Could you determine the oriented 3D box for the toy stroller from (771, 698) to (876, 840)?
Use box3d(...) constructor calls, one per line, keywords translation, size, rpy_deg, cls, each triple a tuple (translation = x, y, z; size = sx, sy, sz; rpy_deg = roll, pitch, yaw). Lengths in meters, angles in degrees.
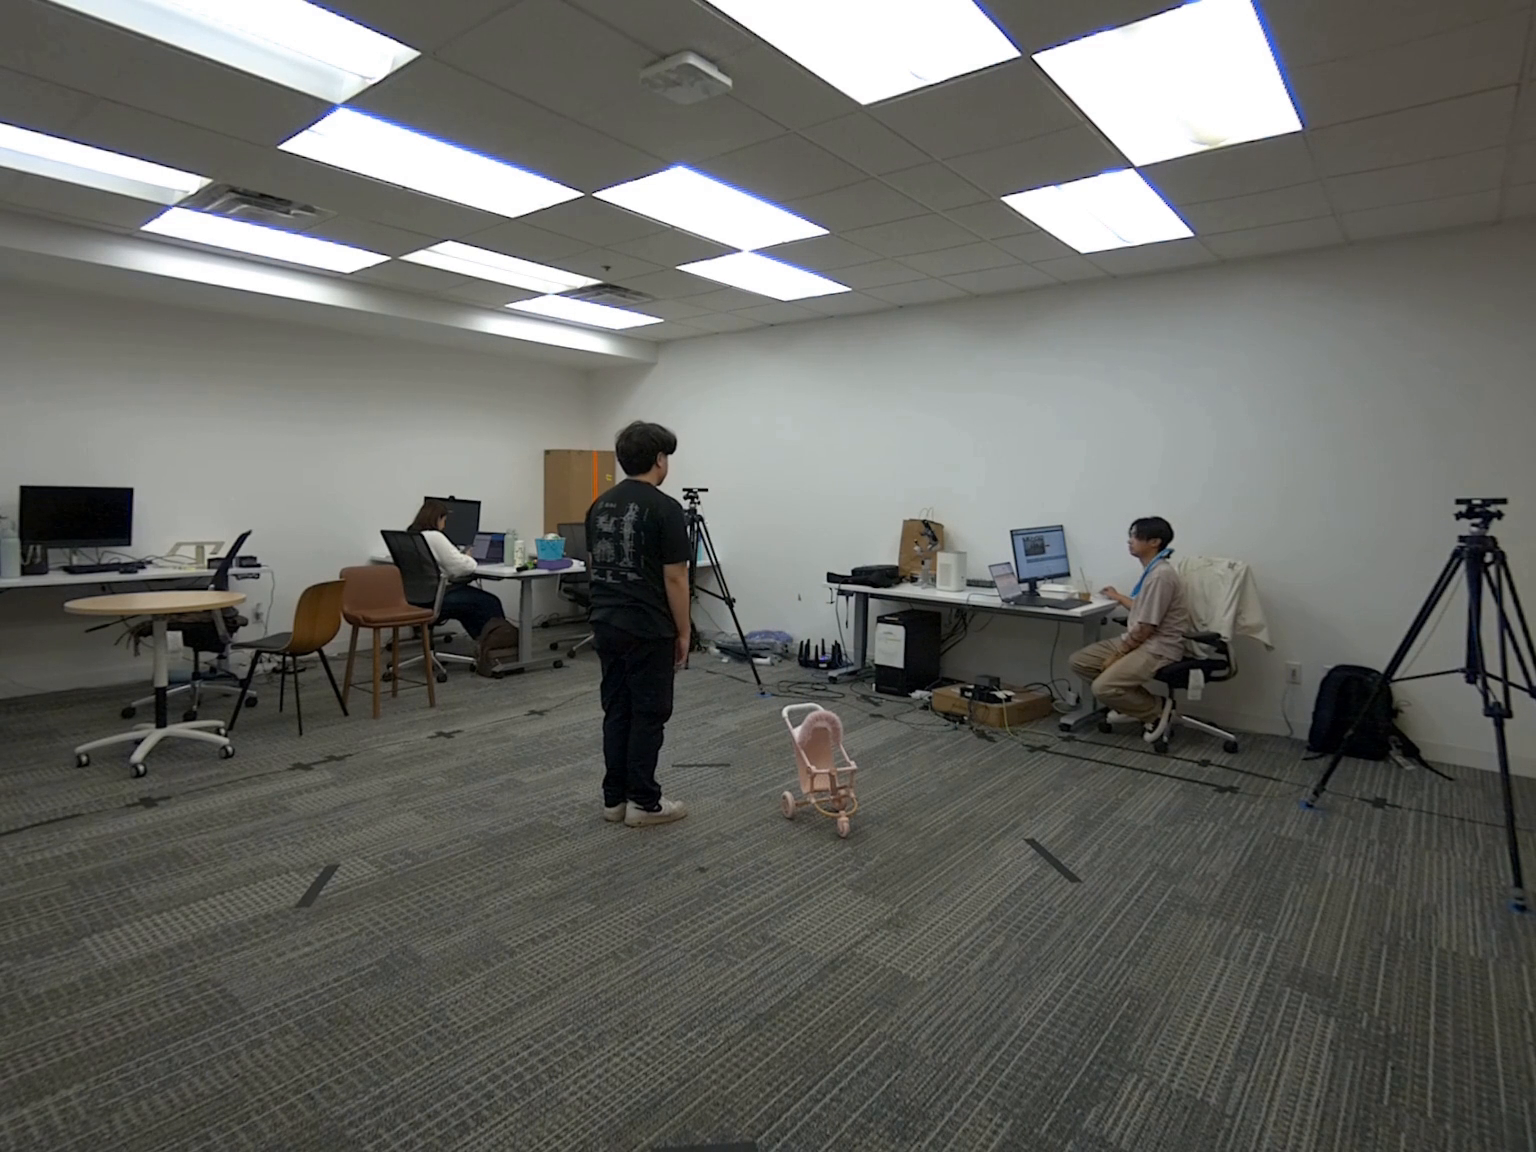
box3d(translation=(0.226, 0.806, 3.593), size=(0.276, 0.541, 0.344), rpy_deg=(0, -12, -20), cls="toy stroller")
